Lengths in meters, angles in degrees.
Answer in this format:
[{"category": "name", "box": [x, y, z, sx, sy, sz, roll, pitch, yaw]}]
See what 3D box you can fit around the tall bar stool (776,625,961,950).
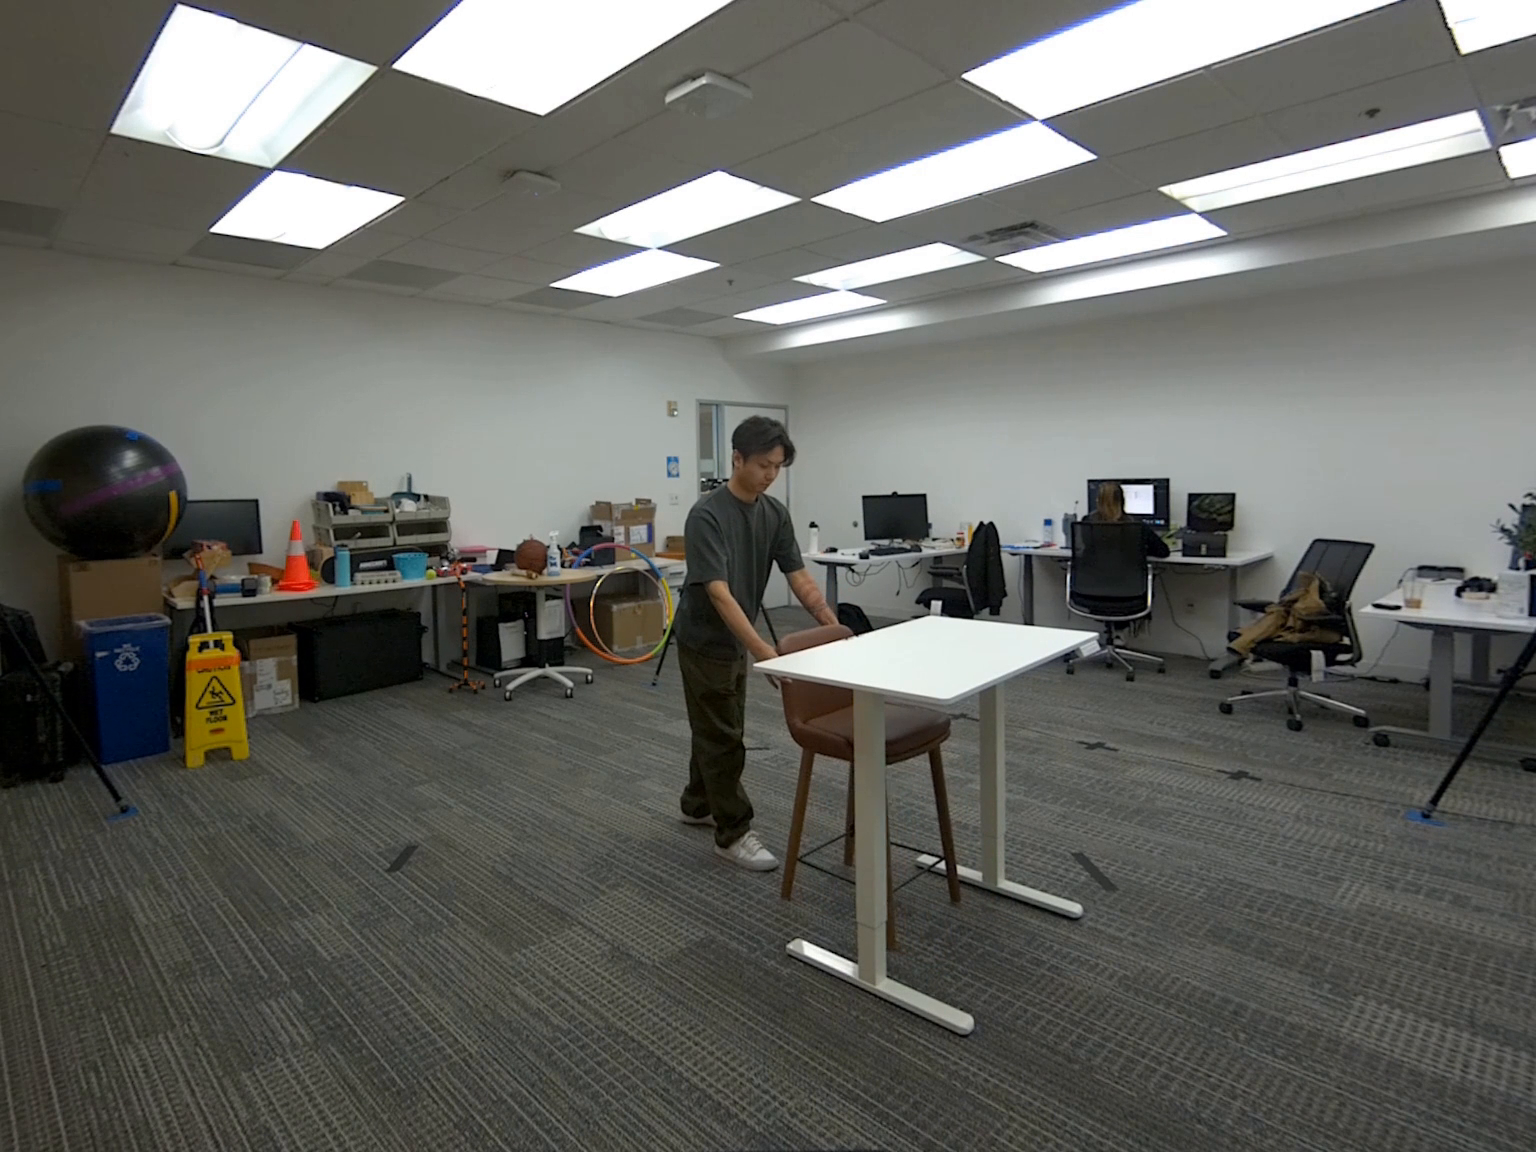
[{"category": "tall bar stool", "box": [0.318, 0.631, 2.798, 0.481, 0.888, 0.444, -2, 3, 44]}]
